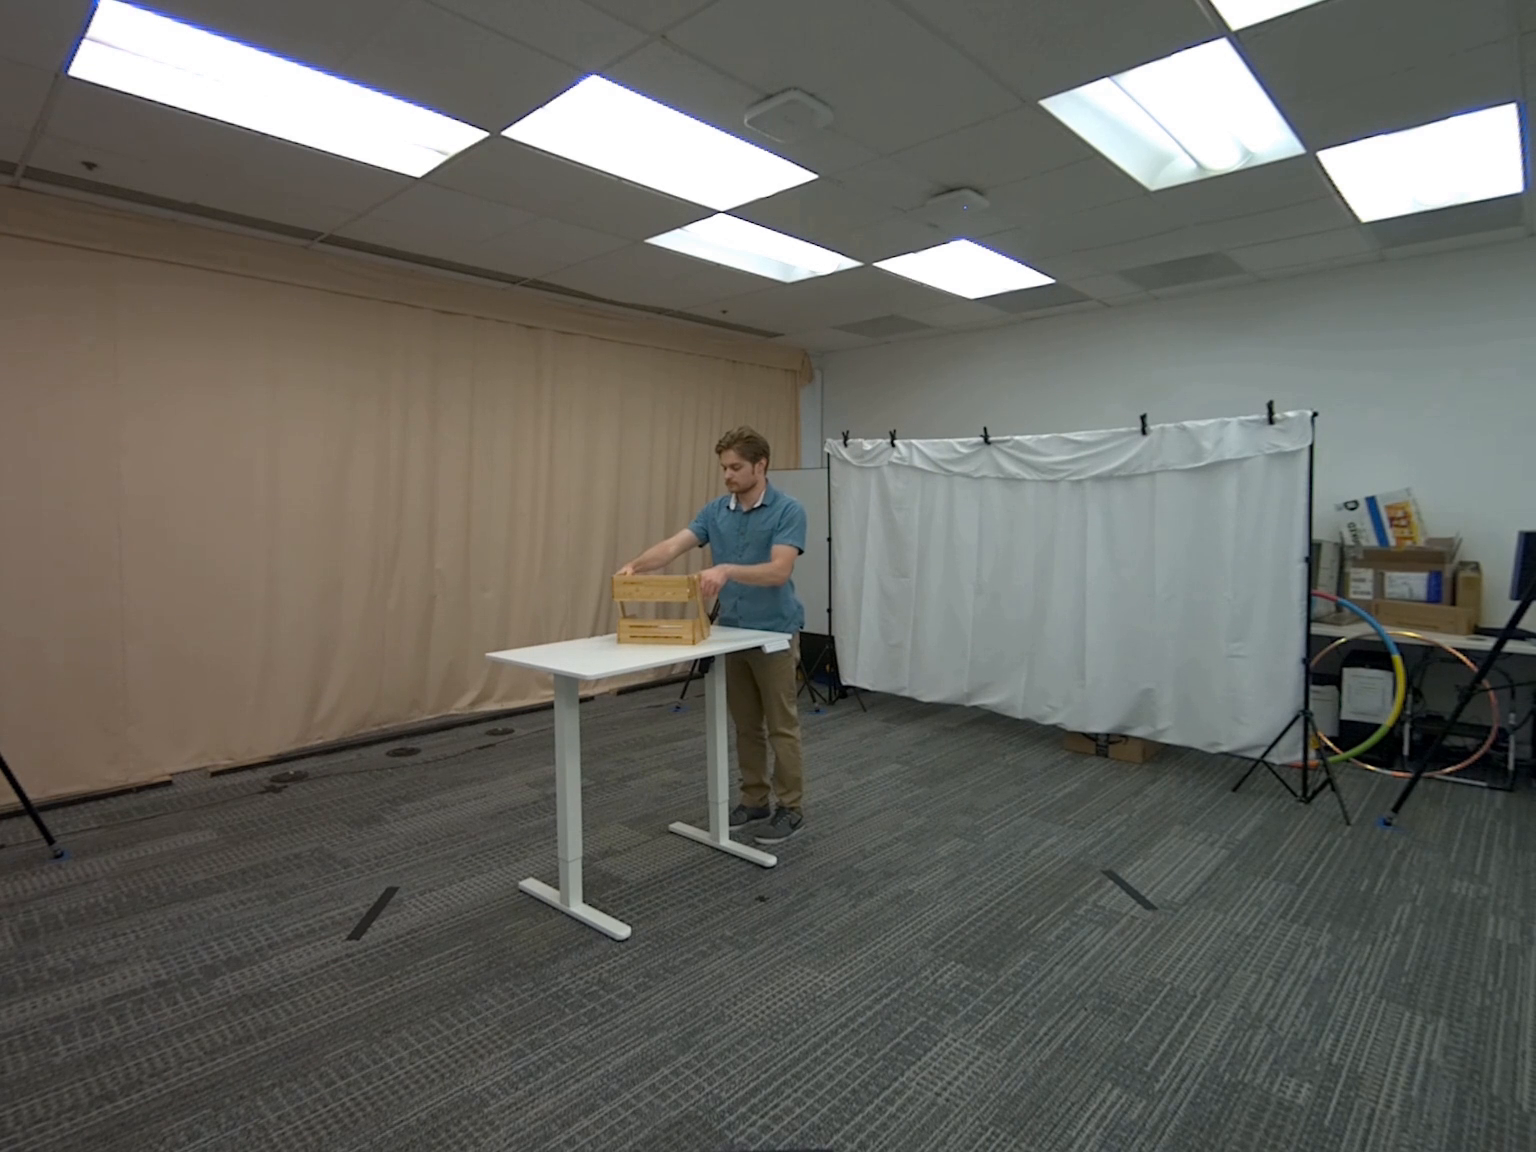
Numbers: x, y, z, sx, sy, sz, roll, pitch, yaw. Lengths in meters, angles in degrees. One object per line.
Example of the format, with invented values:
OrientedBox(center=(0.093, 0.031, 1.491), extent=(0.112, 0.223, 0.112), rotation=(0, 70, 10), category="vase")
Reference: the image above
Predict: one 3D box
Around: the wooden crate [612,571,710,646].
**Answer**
OrientedBox(center=(-0.401, 0.120, 3.210), extent=(0.327, 0.272, 0.300), rotation=(-3, 5, 8), category="wooden crate")
